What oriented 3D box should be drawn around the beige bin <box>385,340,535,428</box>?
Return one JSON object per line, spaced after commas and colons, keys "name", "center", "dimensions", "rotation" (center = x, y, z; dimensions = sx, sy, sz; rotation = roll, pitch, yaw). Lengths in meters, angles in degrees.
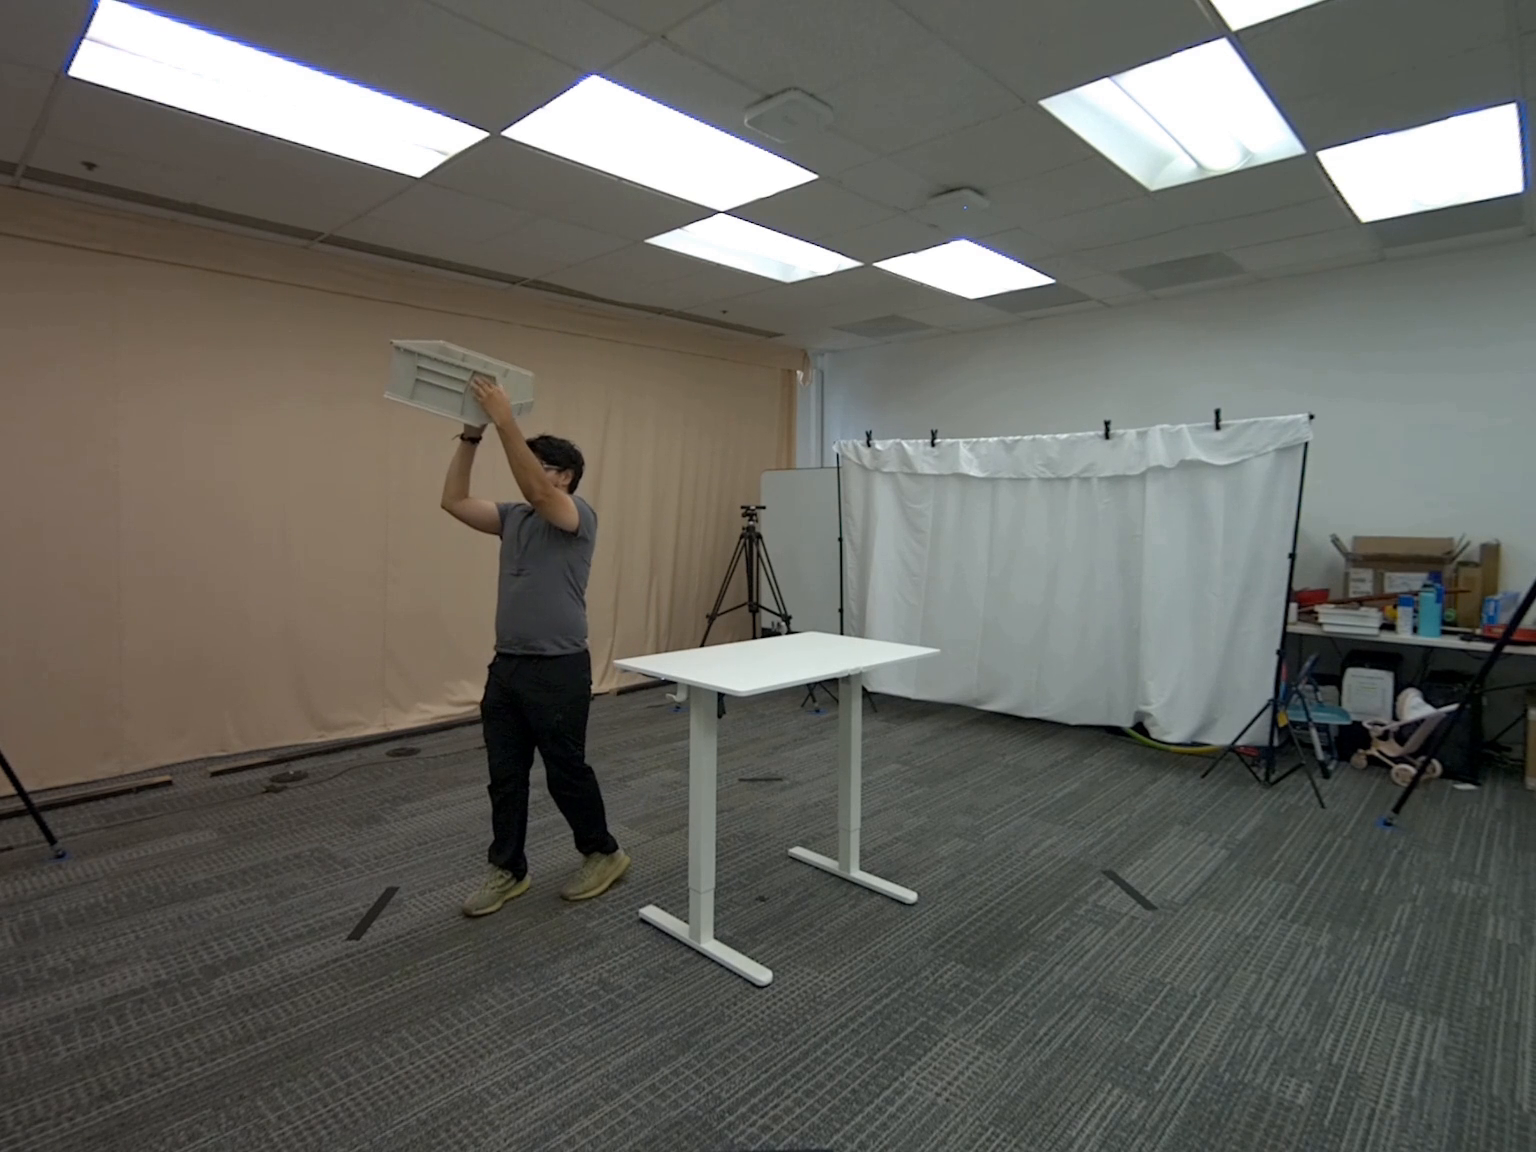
{"name": "beige bin", "center": [-0.999, -0.635, 2.793], "dimensions": [0.376, 0.188, 0.425], "rotation": [18, 14, -4]}
